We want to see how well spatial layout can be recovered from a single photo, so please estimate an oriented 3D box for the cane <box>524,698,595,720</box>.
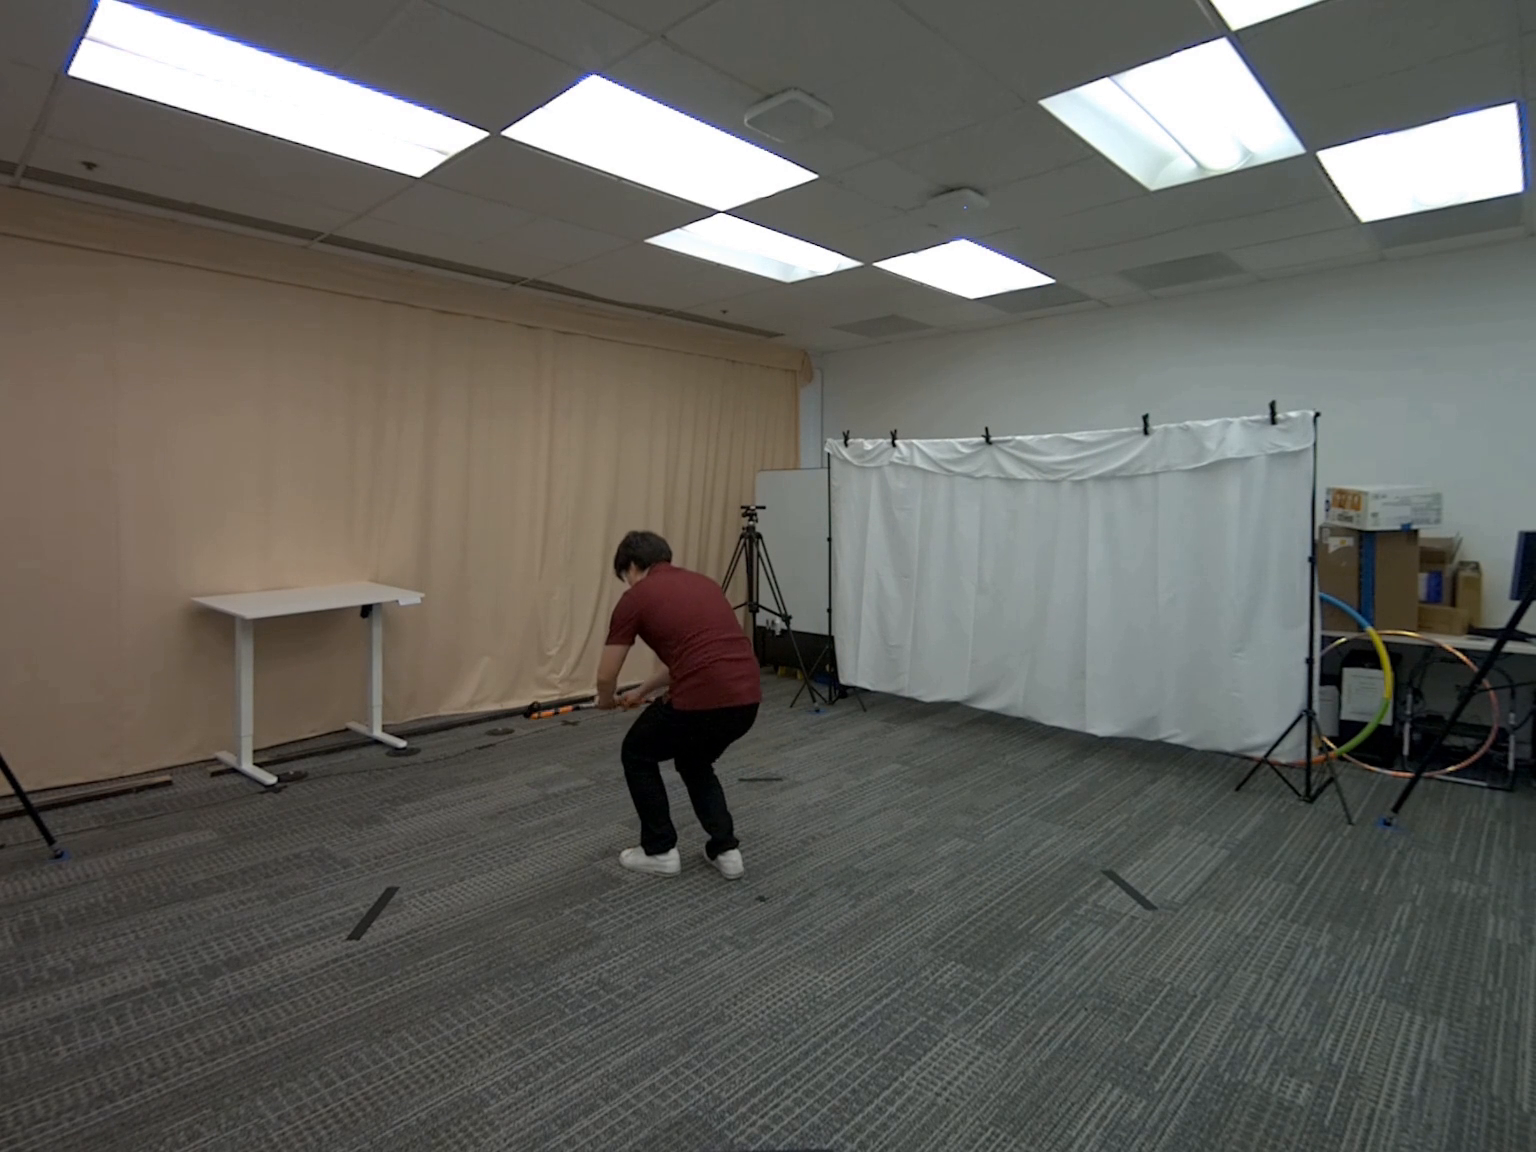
[{"bbox_3d":[-0.598,0.528,3.514,0.881,0.154,0.209,0,-26,-35],"label":"cane"}]
